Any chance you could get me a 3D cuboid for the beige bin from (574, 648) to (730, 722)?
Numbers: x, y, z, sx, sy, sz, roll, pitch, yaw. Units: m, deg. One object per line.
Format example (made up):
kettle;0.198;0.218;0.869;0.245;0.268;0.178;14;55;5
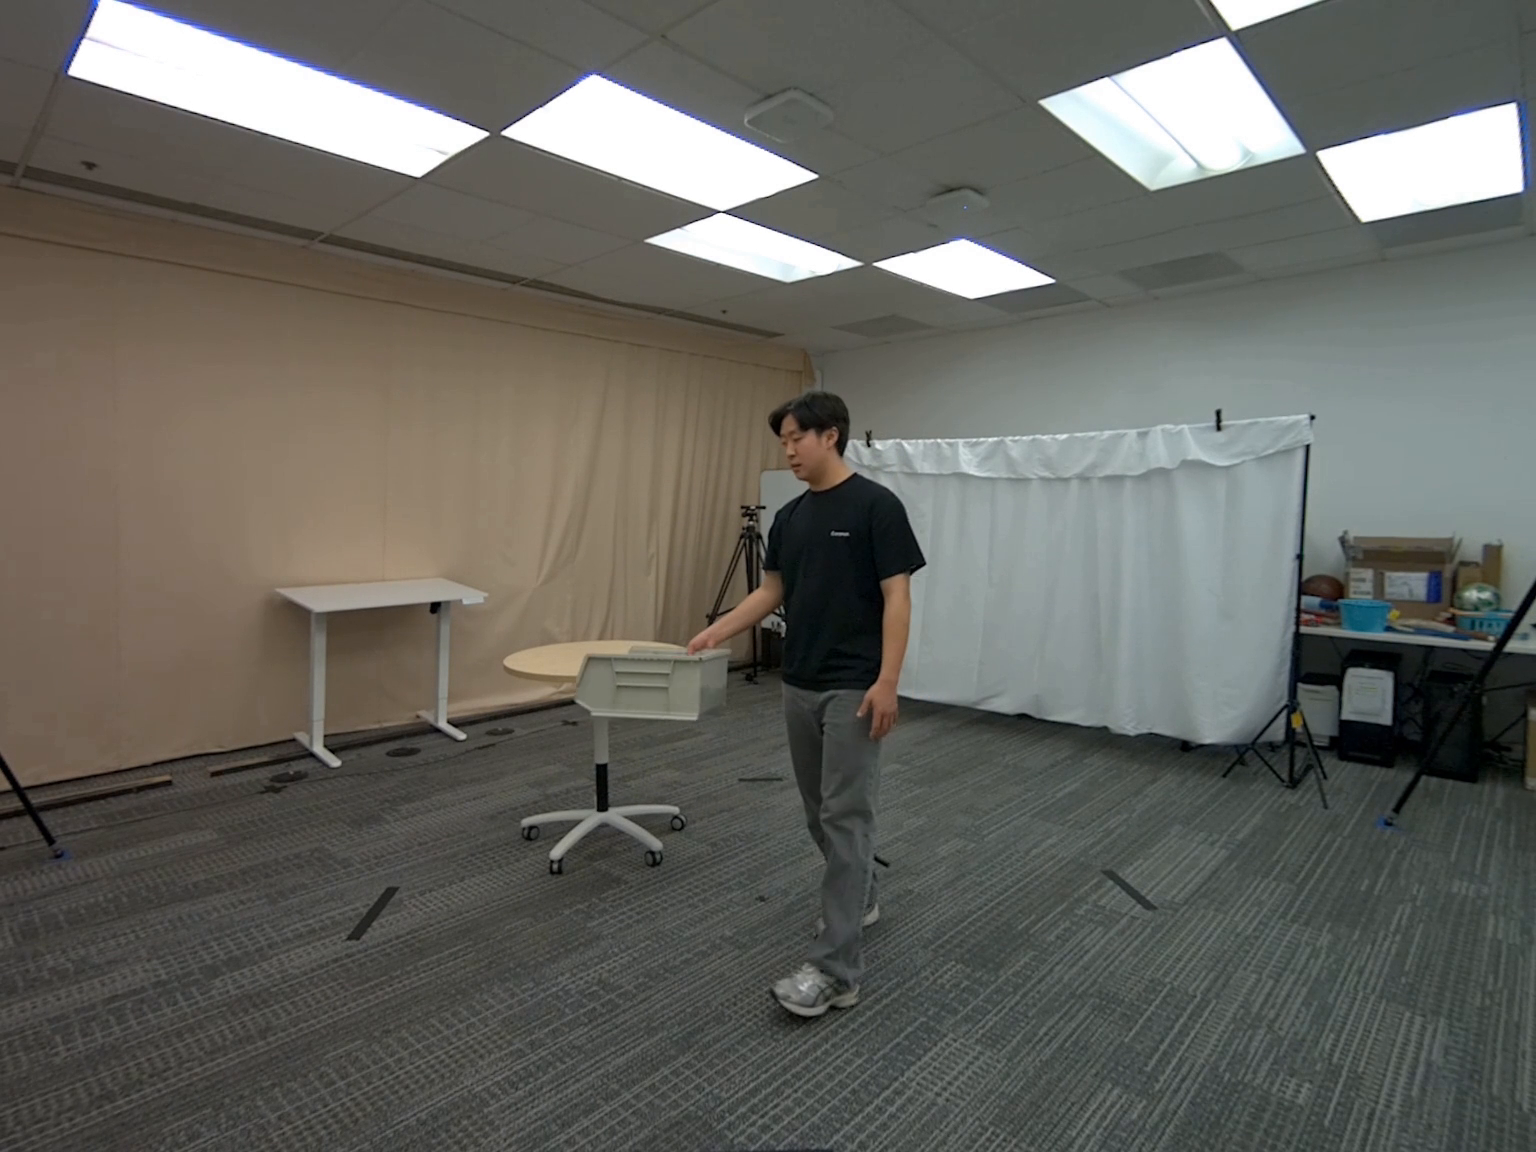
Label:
beige bin;-0.333;0.321;2.580;0.382;0.189;0.417;2;-2;10
